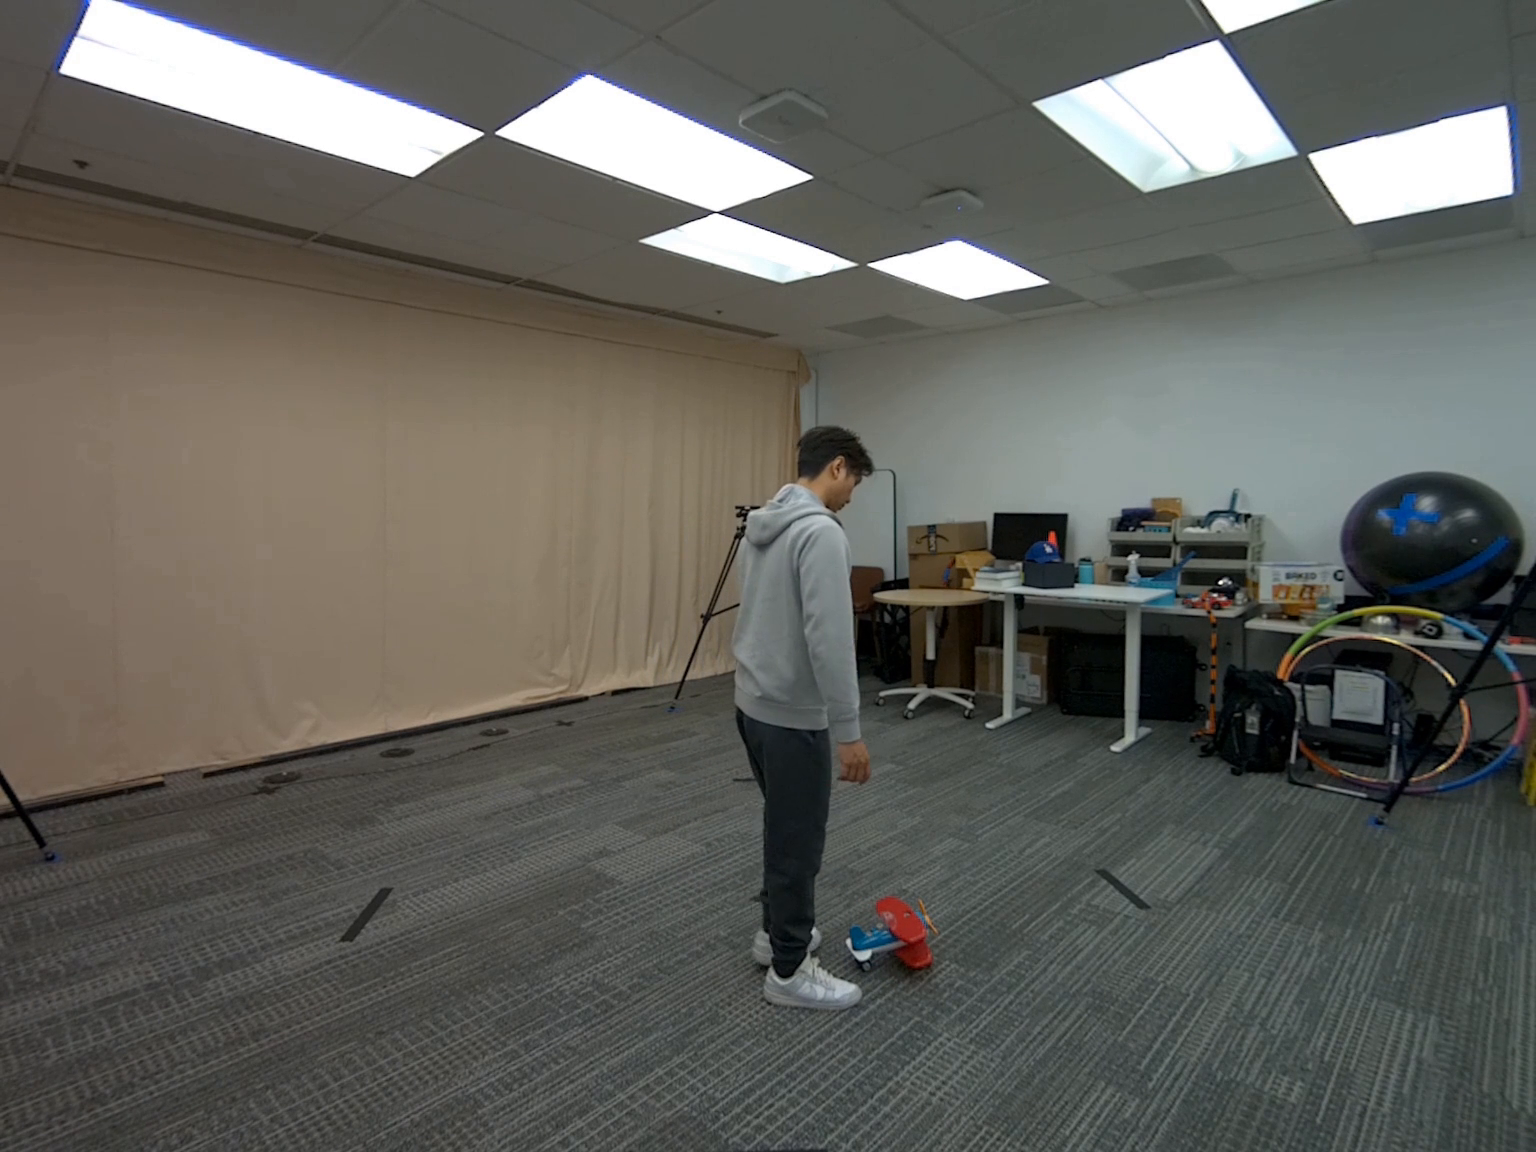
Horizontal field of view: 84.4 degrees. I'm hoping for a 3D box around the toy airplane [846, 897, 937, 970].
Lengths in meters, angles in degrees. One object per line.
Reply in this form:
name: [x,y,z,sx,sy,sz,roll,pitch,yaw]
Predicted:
toy airplane: [0.393,1.112,2.531,0.251,0.156,0.259,-2,5,-40]
